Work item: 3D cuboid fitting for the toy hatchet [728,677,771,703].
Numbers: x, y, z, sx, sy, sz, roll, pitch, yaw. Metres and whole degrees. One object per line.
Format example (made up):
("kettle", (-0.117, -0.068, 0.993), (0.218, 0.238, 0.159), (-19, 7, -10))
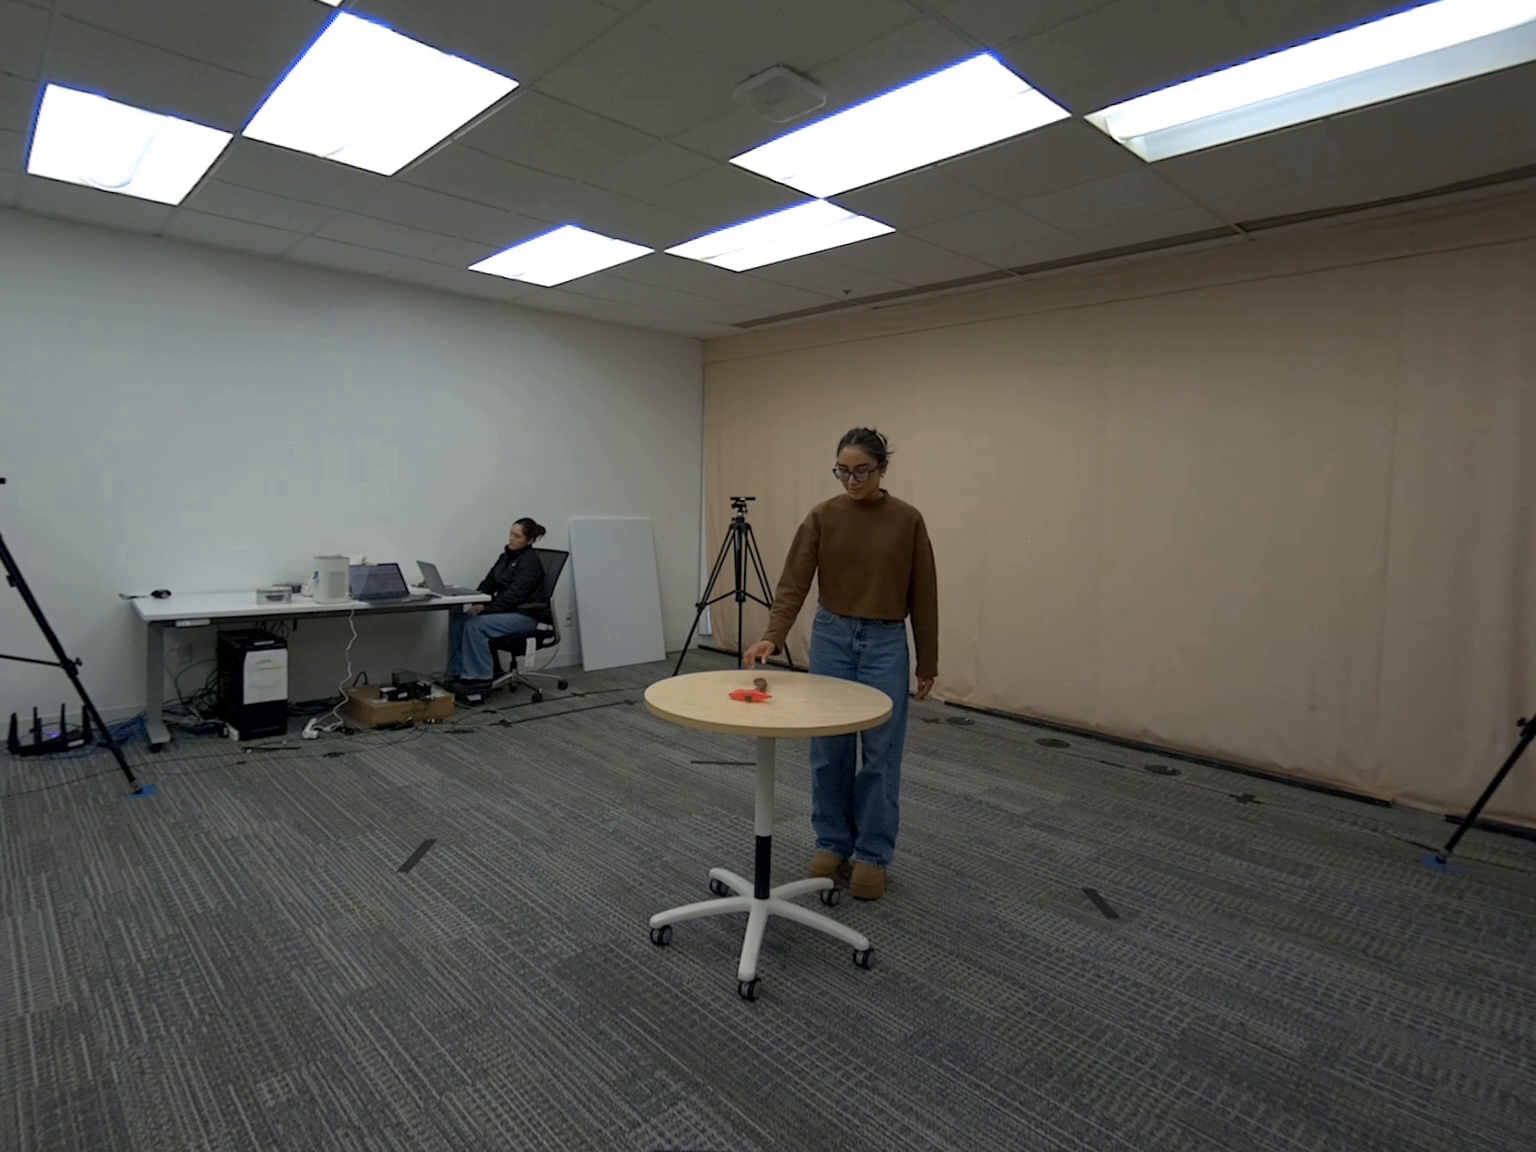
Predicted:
("toy hatchet", (-0.072, 0.358, 2.641), (0.131, 0.029, 0.271), (-3, 3, -4))
